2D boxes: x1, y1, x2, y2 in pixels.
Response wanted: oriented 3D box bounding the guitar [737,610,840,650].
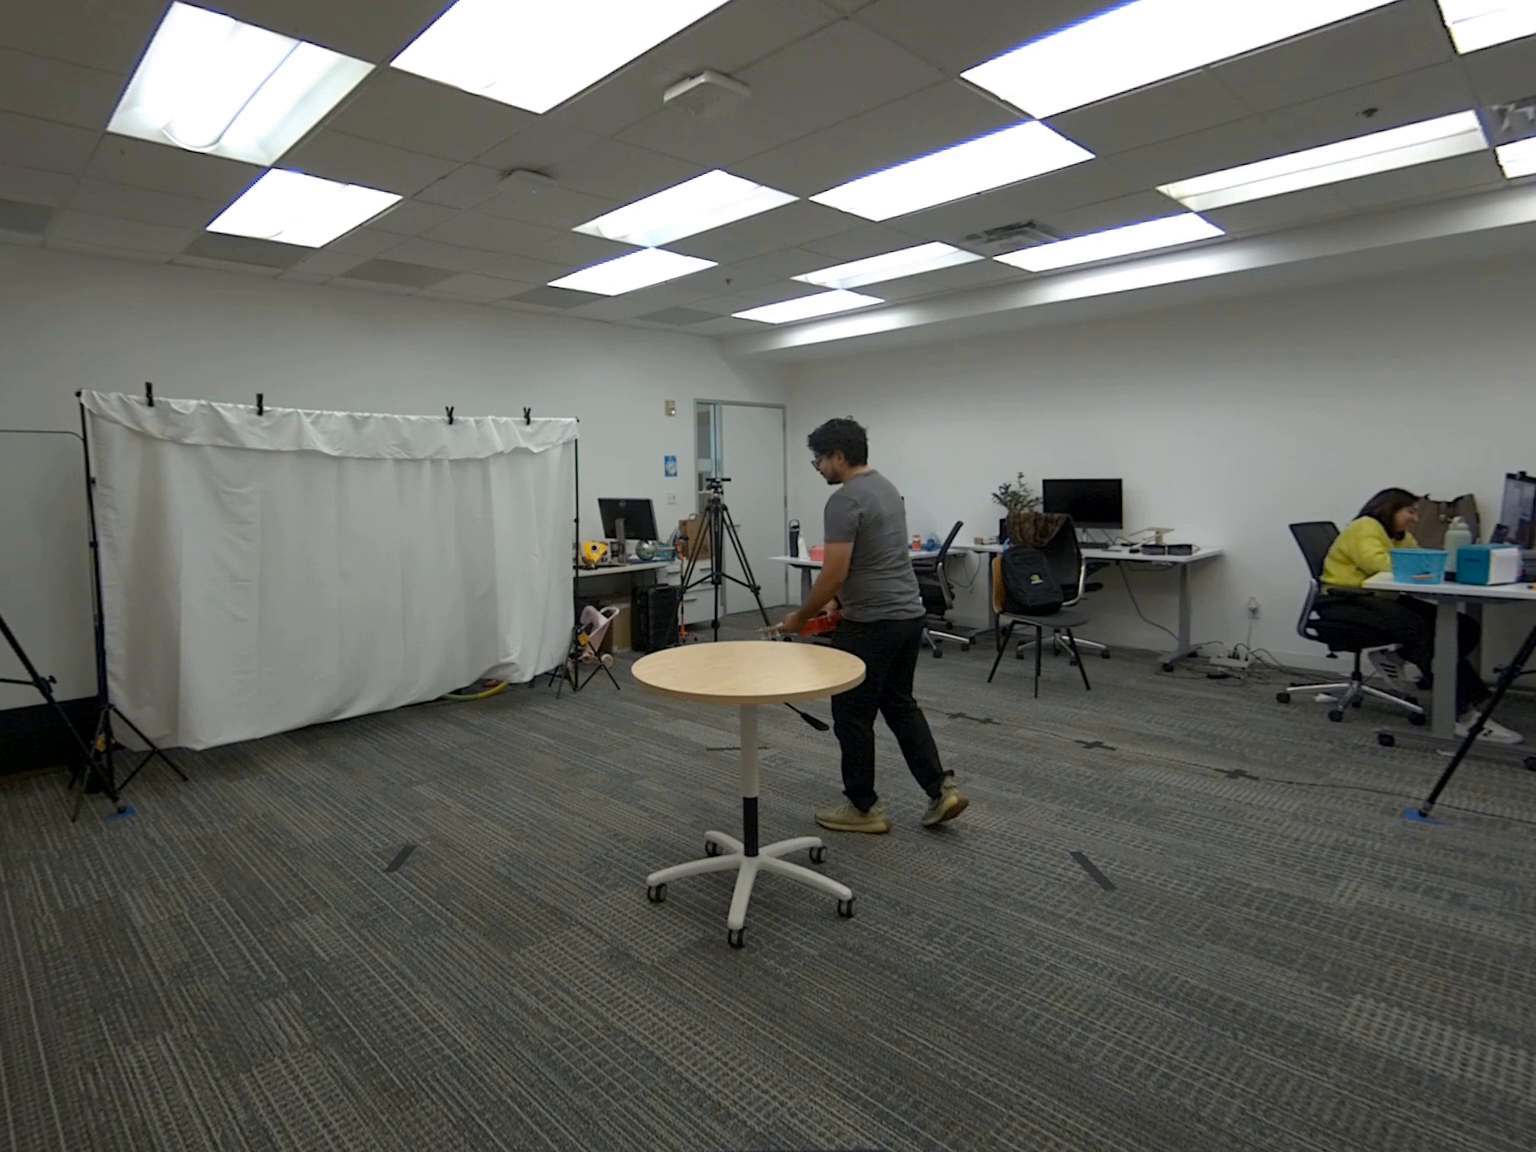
[{"bbox_3d":[0.139,0.210,3.524,0.489,0.071,0.195,-10,-4,-25],"label":"guitar"}]
